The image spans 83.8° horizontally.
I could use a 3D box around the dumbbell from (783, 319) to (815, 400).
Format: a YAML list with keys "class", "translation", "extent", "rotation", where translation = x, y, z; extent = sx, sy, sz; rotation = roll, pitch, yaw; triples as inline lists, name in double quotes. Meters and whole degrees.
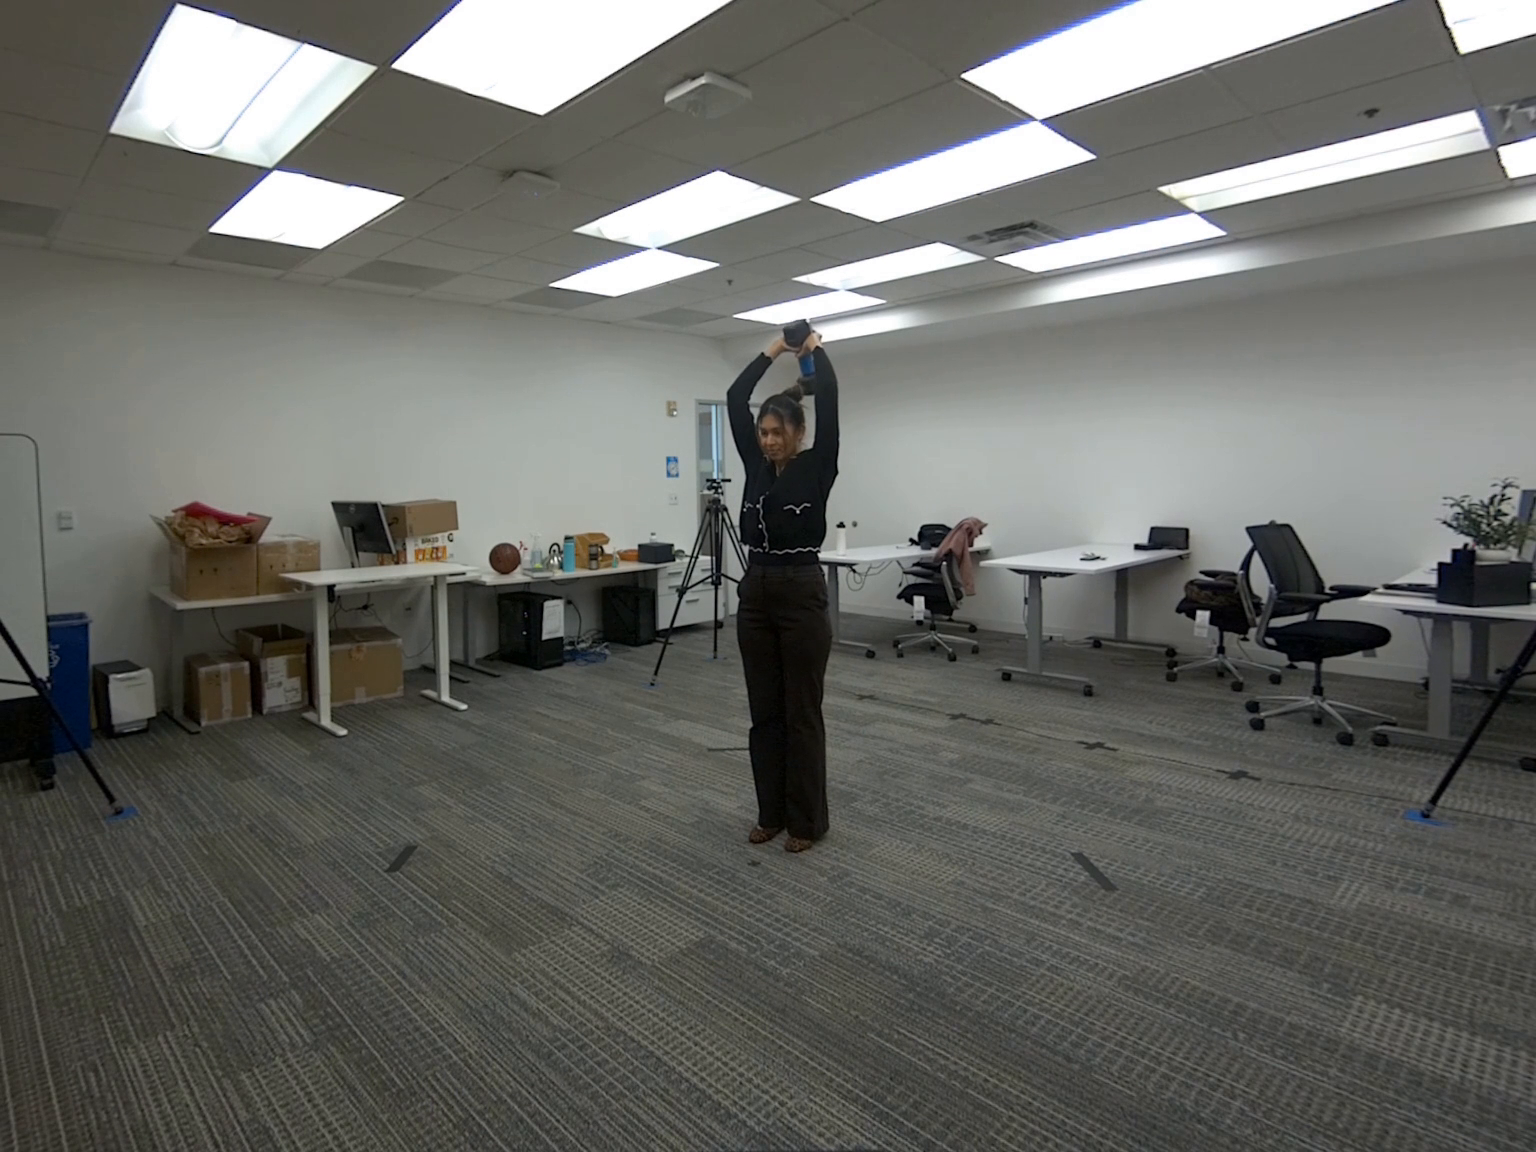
- class: "dumbbell"
  translation: [0.145, -0.867, 3.401]
  extent: [0.110, 0.287, 0.124]
  rotation: [-11, 21, 16]
